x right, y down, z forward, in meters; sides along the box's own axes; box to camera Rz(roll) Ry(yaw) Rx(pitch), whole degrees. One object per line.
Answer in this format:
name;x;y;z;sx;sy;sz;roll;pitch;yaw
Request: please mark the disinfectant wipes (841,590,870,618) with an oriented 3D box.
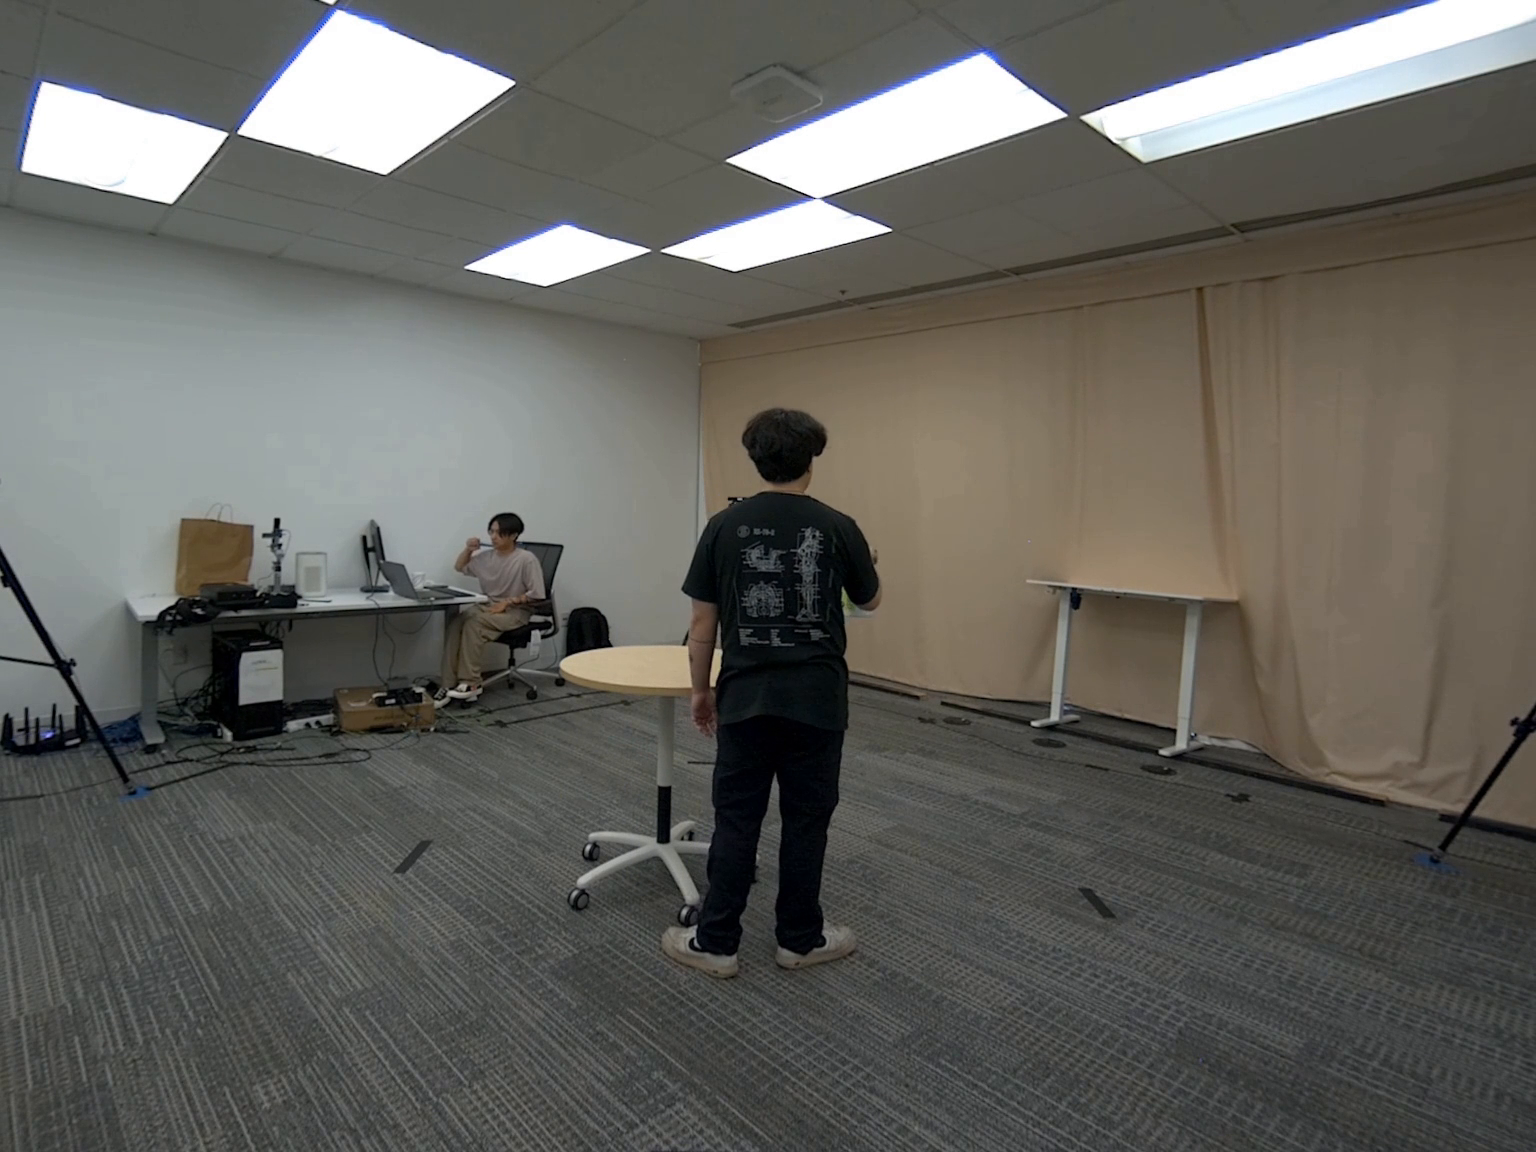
disinfectant wipes;0.308;0.033;2.901;0.118;0.216;0.118;-1;7;-1
